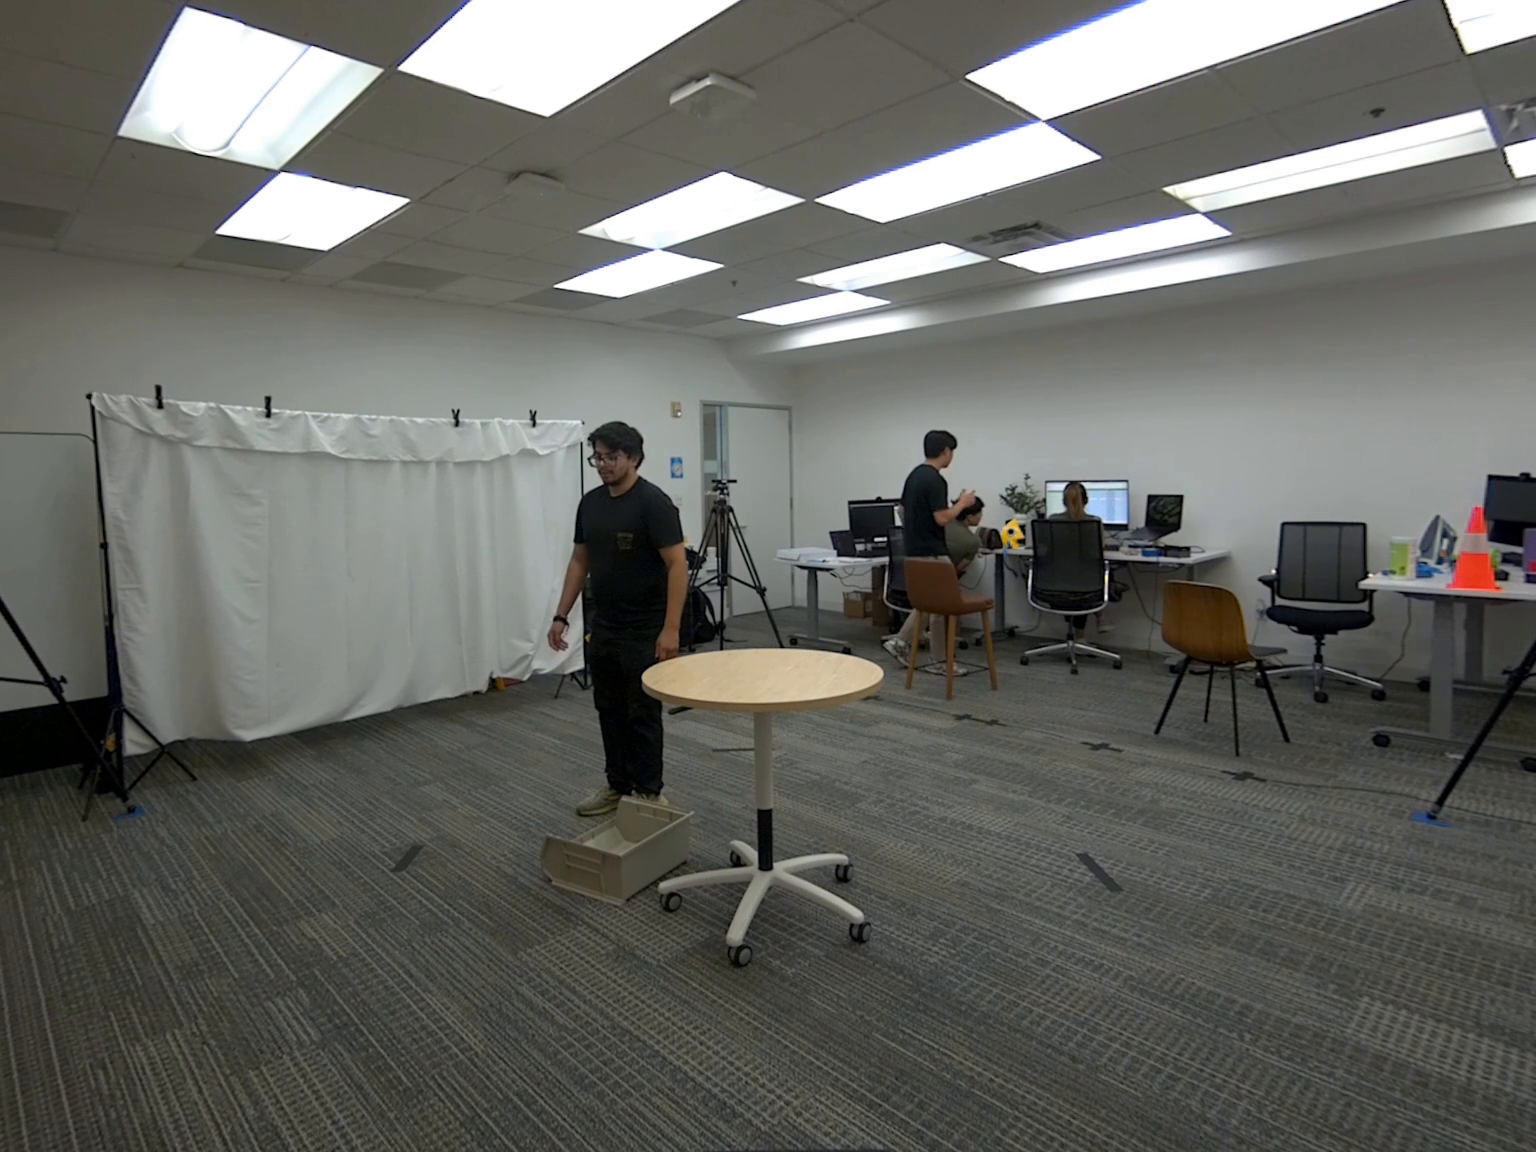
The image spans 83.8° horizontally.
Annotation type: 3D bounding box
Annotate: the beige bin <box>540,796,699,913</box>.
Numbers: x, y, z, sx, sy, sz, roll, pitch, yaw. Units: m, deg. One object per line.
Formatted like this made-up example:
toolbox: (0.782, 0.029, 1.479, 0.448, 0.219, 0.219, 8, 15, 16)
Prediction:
beige bin: (-0.527, 0.974, 3.071, 0.388, 0.188, 0.412, 4, 6, 31)
